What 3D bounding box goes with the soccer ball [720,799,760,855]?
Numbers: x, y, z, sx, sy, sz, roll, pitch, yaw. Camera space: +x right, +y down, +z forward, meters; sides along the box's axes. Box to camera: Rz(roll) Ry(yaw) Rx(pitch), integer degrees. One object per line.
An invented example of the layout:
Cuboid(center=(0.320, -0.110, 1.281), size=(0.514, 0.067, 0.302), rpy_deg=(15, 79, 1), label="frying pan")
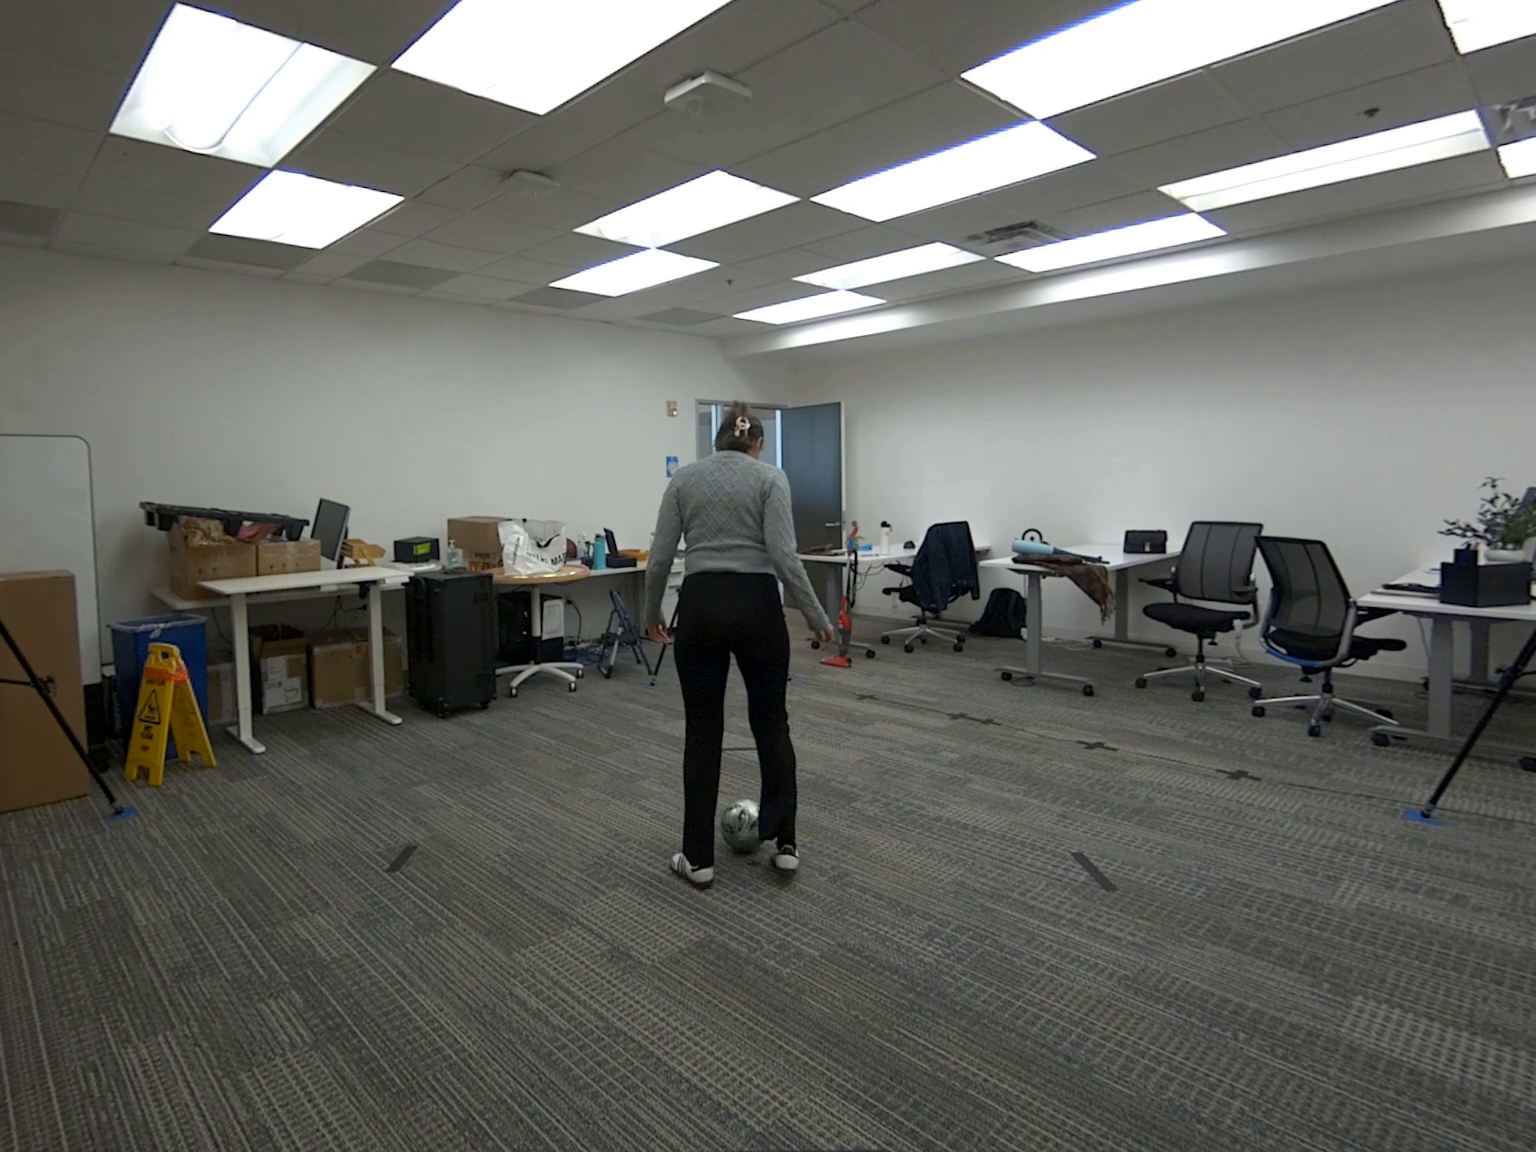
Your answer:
Cuboid(center=(-0.082, 0.937, 3.216), size=(0.187, 0.187, 0.188), rpy_deg=(-1, 5, -2), label="soccer ball")
